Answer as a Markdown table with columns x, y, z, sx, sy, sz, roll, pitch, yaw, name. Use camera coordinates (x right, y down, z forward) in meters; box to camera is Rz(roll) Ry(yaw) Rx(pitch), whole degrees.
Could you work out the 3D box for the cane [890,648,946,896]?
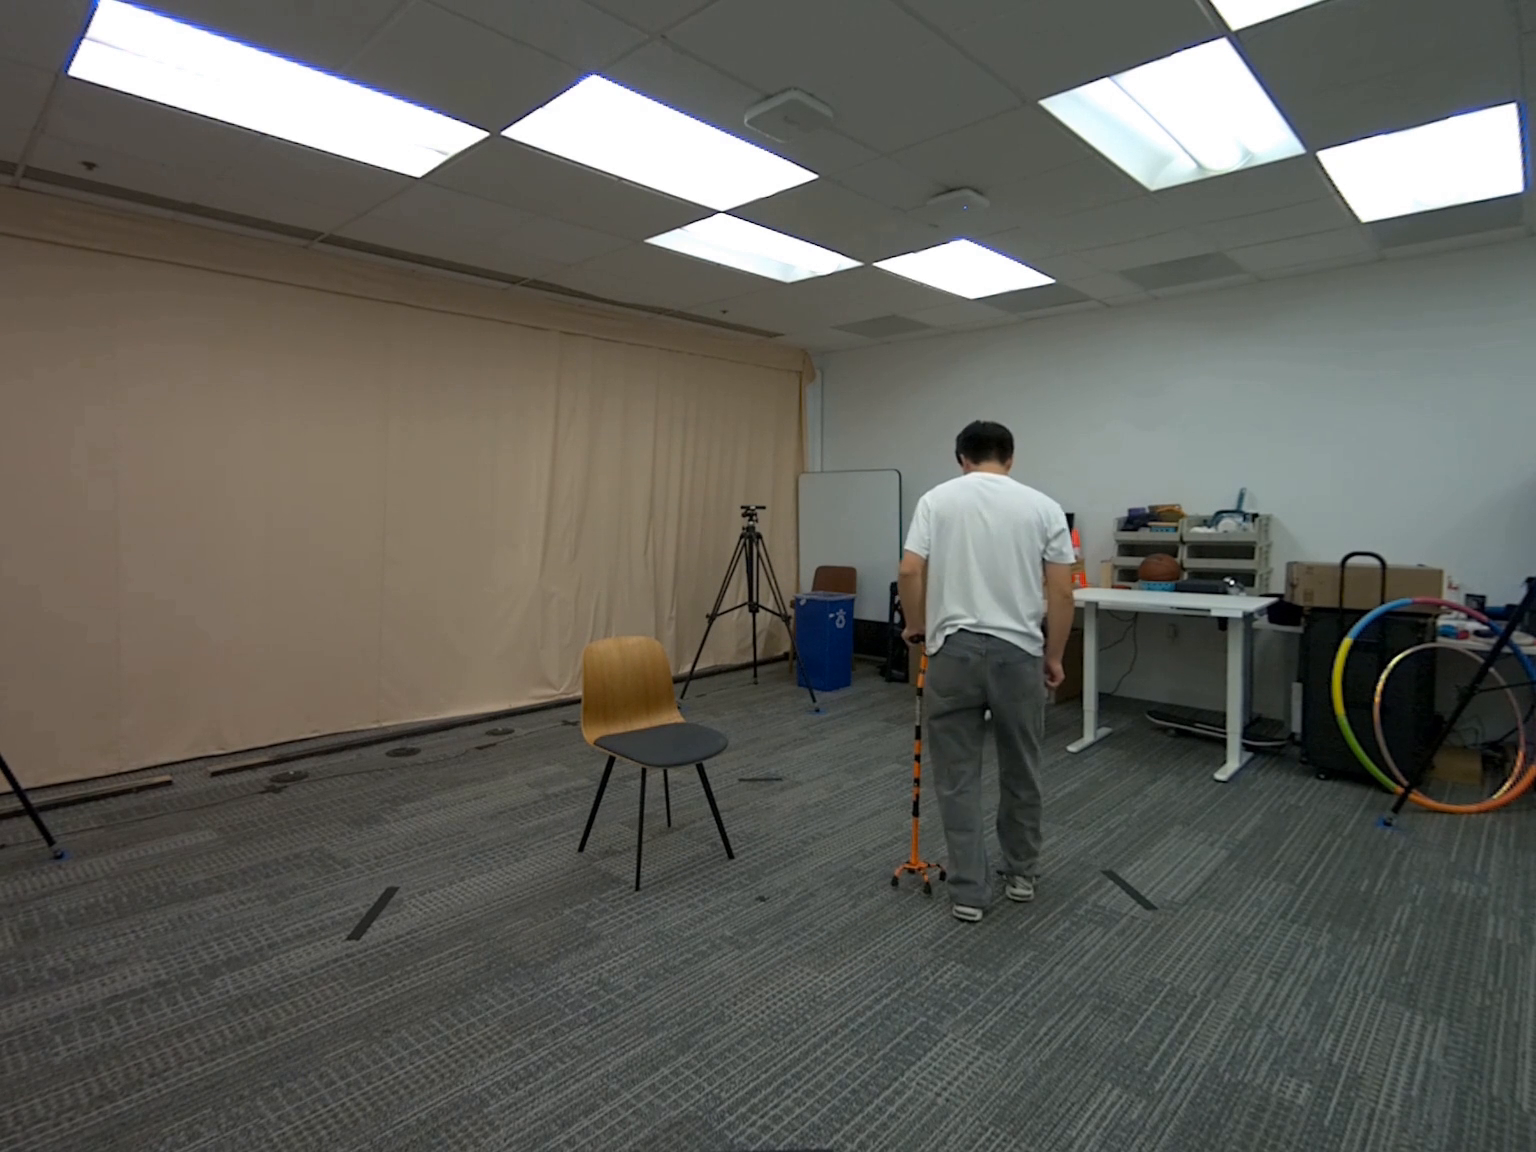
| x | y | z | sx | sy | sz | roll | pitch | yaw | name |
| --- | --- | --- | --- | --- | --- | --- | --- | --- | --- |
| 0.574 | 0.673 | 3.108 | 0.156 | 0.909 | 0.201 | -1 | -2 | 29 | cane |
